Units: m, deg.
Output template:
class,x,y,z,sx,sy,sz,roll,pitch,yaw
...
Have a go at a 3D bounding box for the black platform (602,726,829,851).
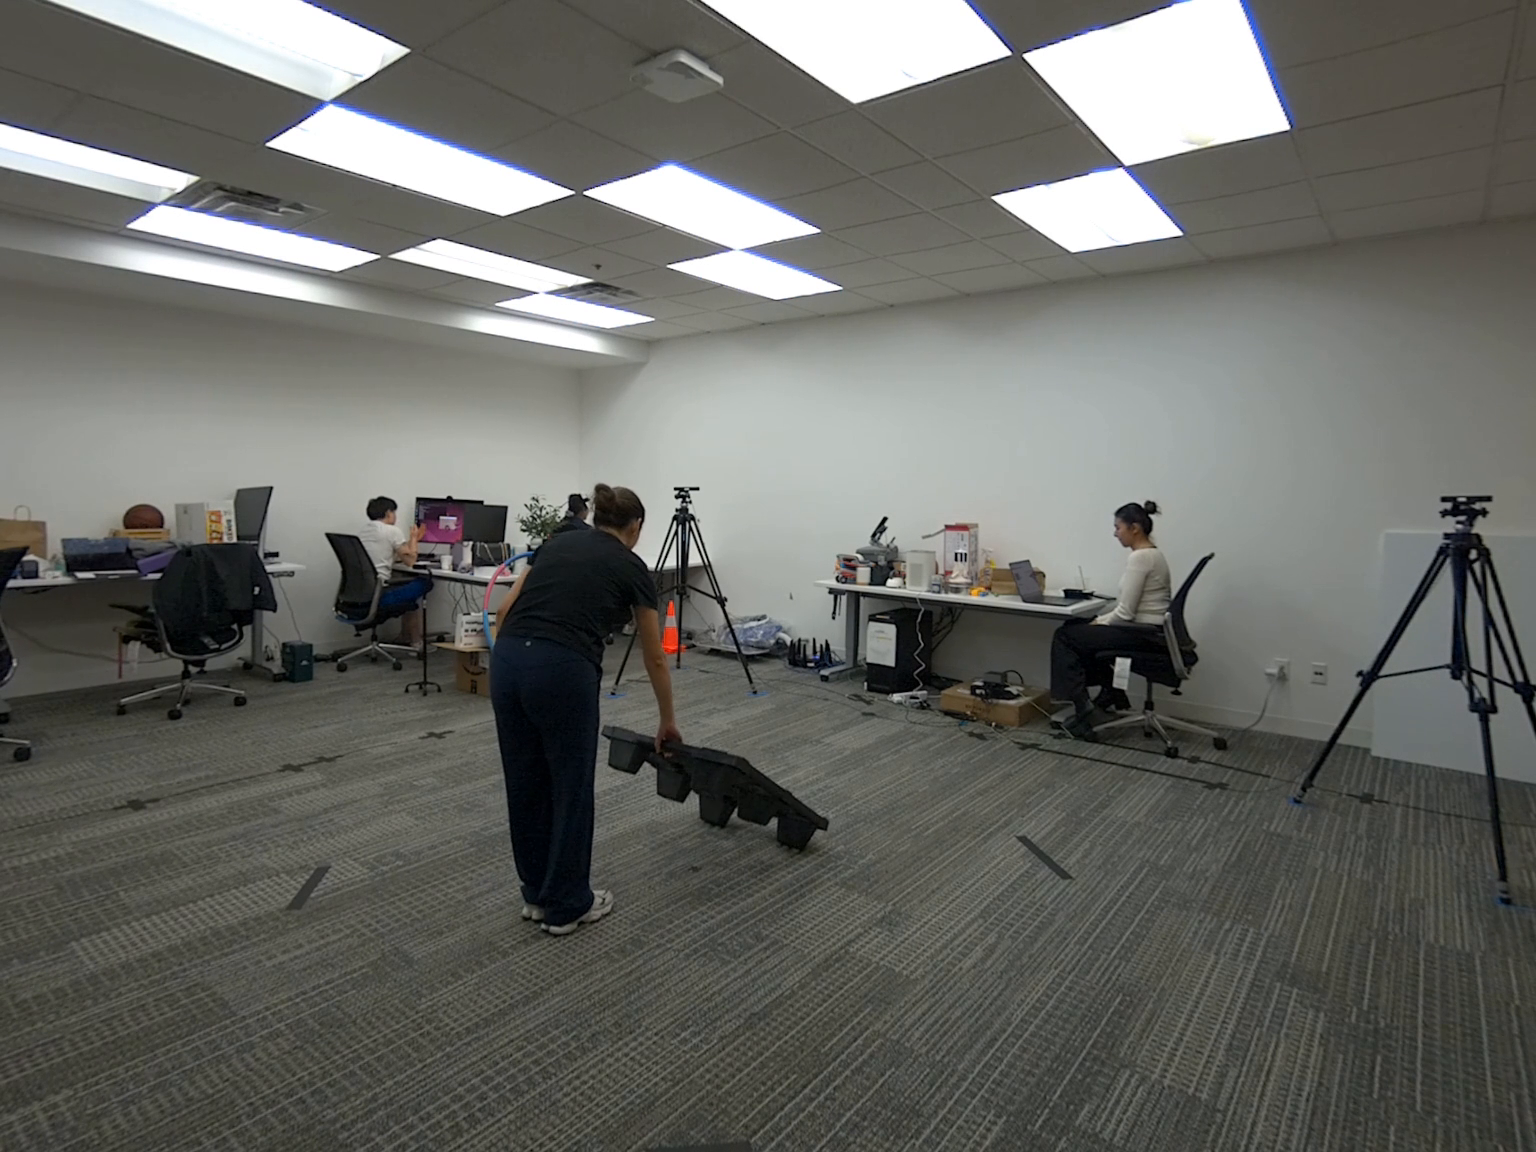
class,x,y,z,sx,sy,sz,roll,pitch,yaw
black platform,-0.198,0.803,3.191,0.624,0.145,0.772,4,-28,34
